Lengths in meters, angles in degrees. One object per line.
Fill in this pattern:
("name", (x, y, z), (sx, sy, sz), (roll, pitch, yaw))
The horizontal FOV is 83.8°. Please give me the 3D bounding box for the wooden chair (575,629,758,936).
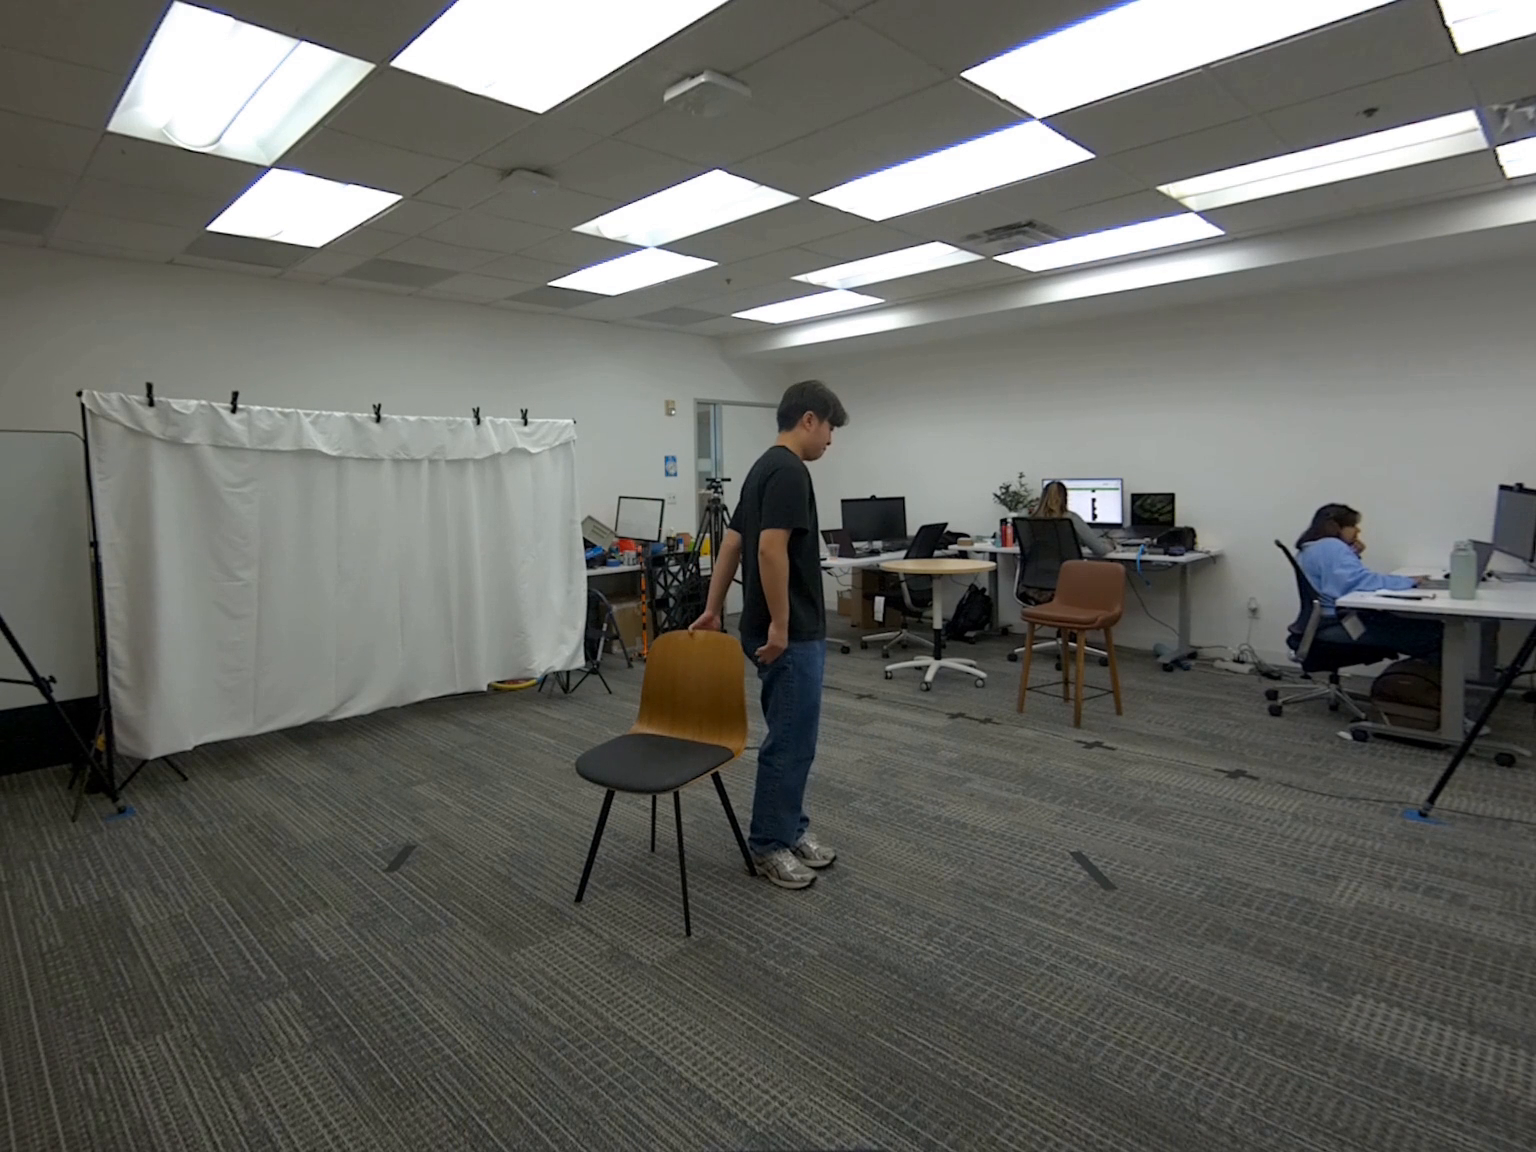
("wooden chair", (-0.346, 0.646, 2.870), (0.490, 0.877, 0.510), (1, 1, 28))
